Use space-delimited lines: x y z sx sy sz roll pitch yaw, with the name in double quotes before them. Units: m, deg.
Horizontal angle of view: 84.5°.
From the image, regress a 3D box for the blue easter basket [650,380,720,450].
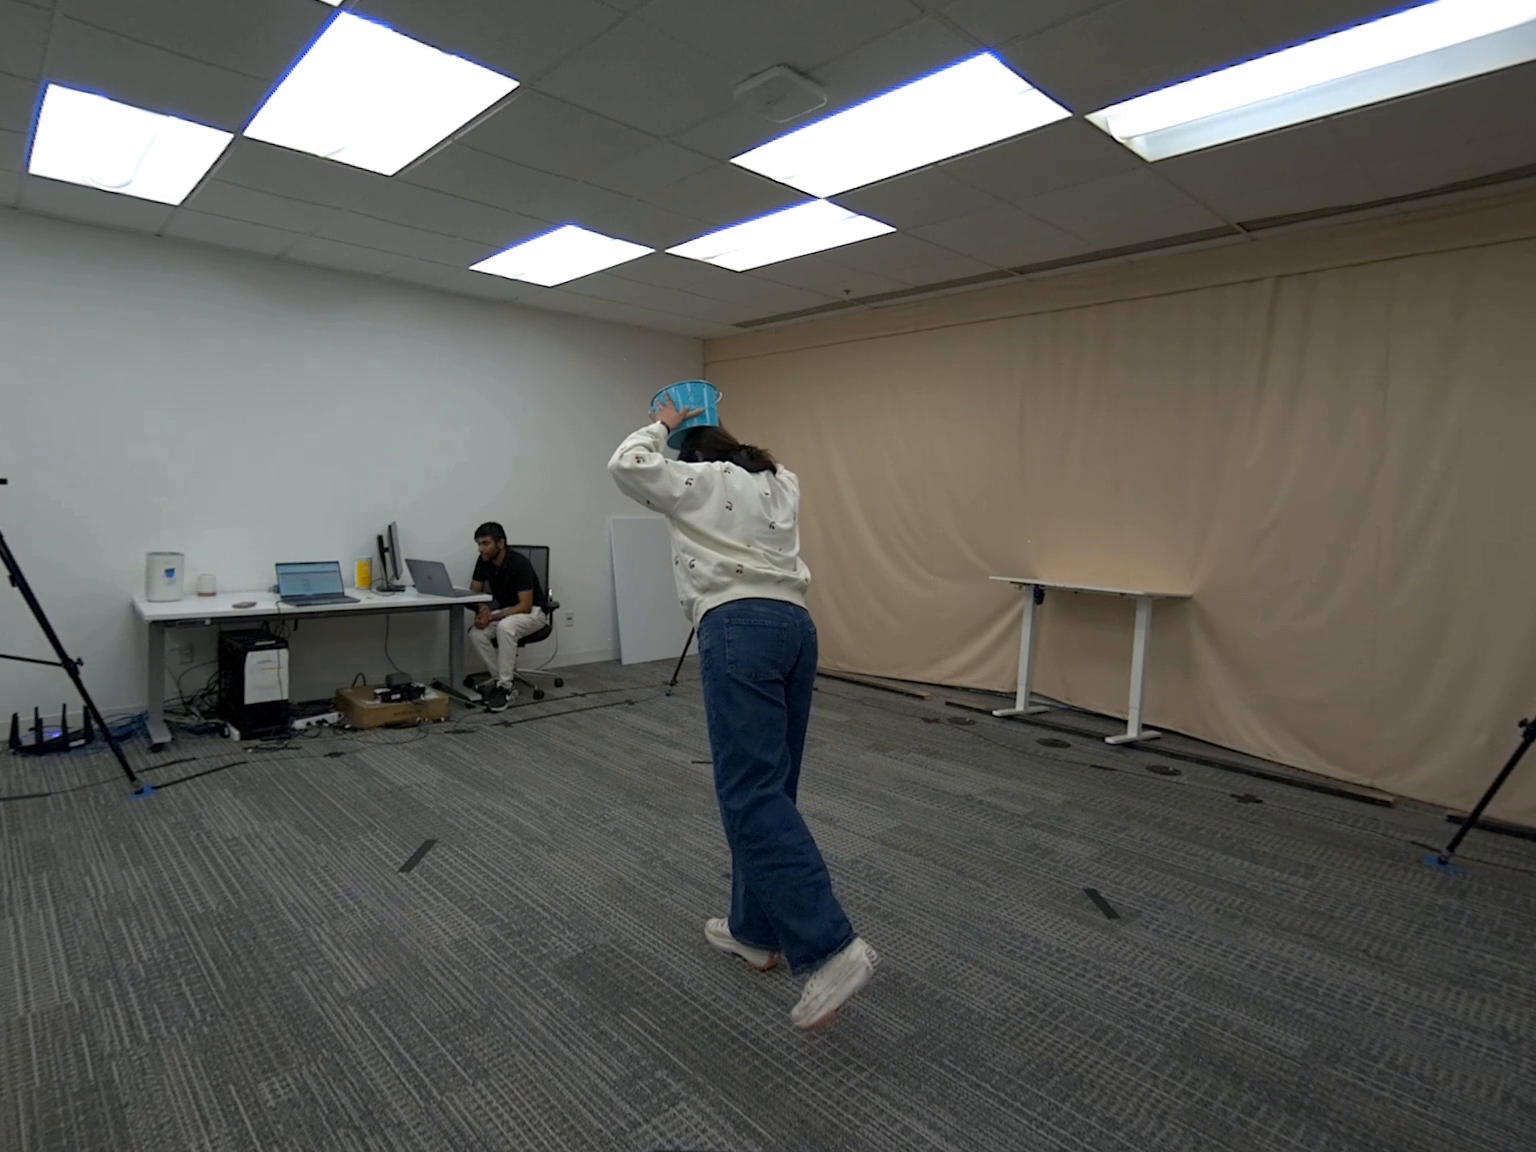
"blue easter basket" -0.281 -0.534 2.826 0.243 0.158 0.241 -11 -16 -5
